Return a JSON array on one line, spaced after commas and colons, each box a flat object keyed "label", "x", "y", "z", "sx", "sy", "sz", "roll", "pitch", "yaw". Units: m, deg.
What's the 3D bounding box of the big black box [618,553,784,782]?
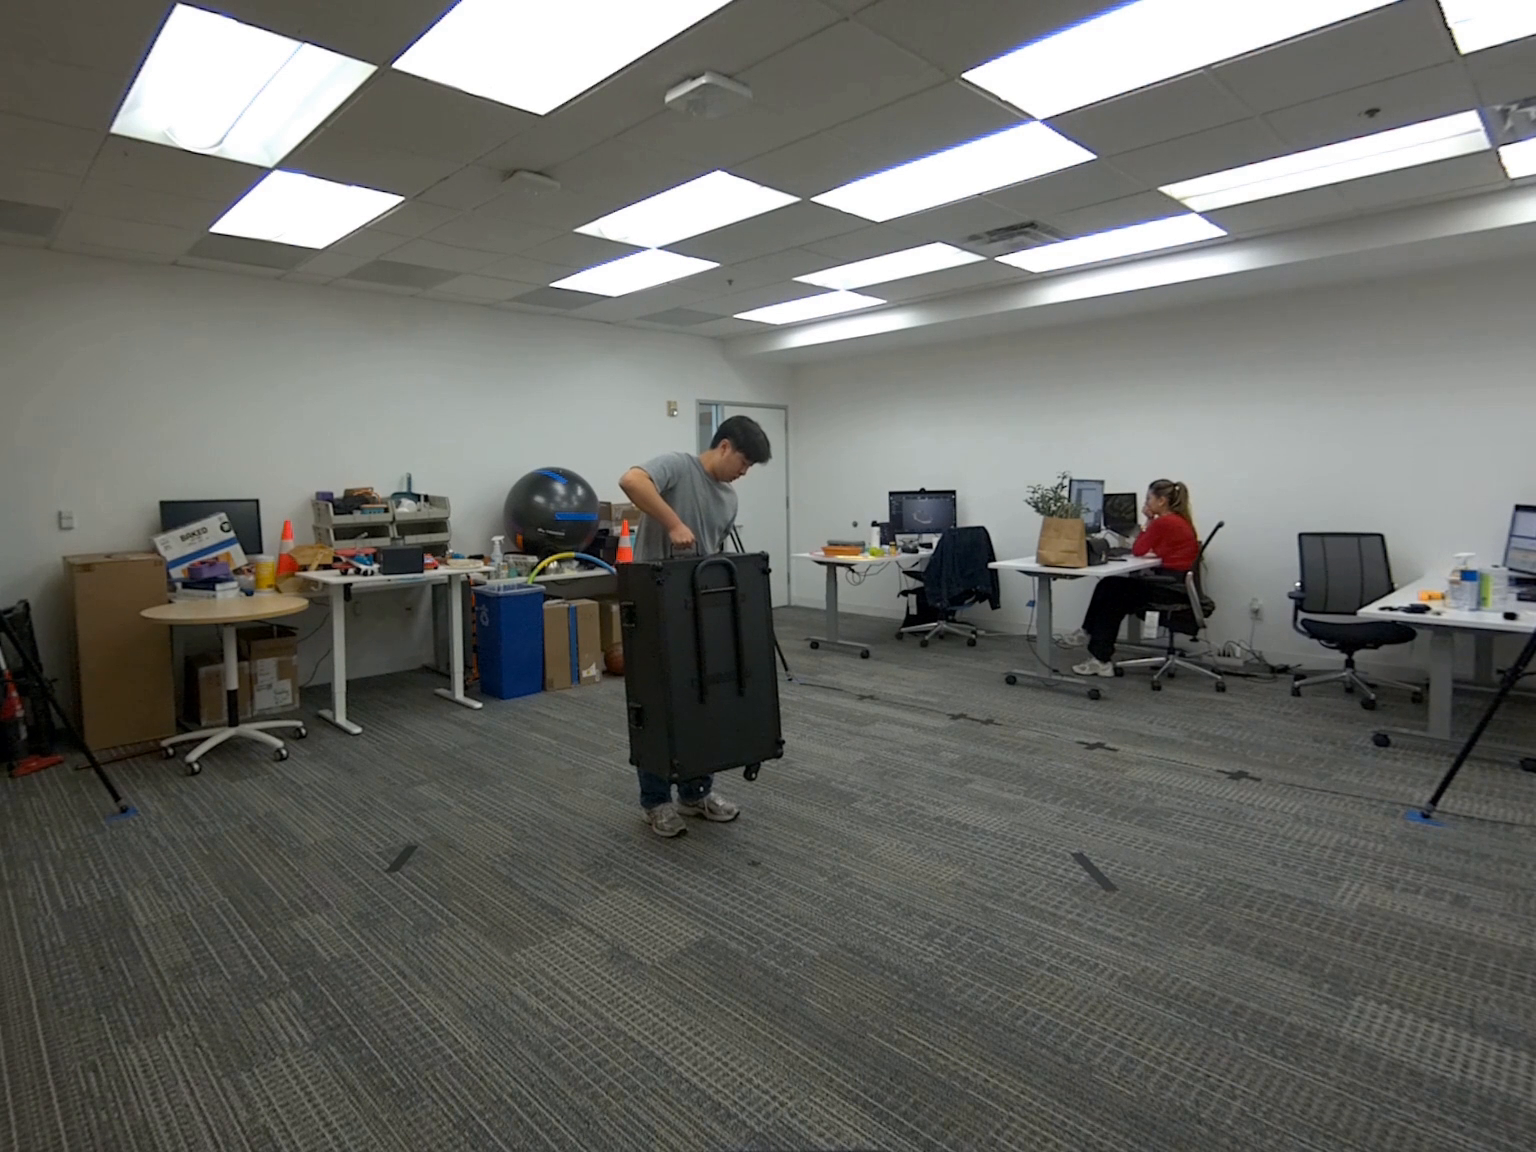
[{"label": "big black box", "x": -0.262, "y": 0.297, "z": 3.257, "sx": 0.509, "sy": 0.861, "sz": 0.406, "roll": -4, "pitch": 1, "yaw": -31}]
